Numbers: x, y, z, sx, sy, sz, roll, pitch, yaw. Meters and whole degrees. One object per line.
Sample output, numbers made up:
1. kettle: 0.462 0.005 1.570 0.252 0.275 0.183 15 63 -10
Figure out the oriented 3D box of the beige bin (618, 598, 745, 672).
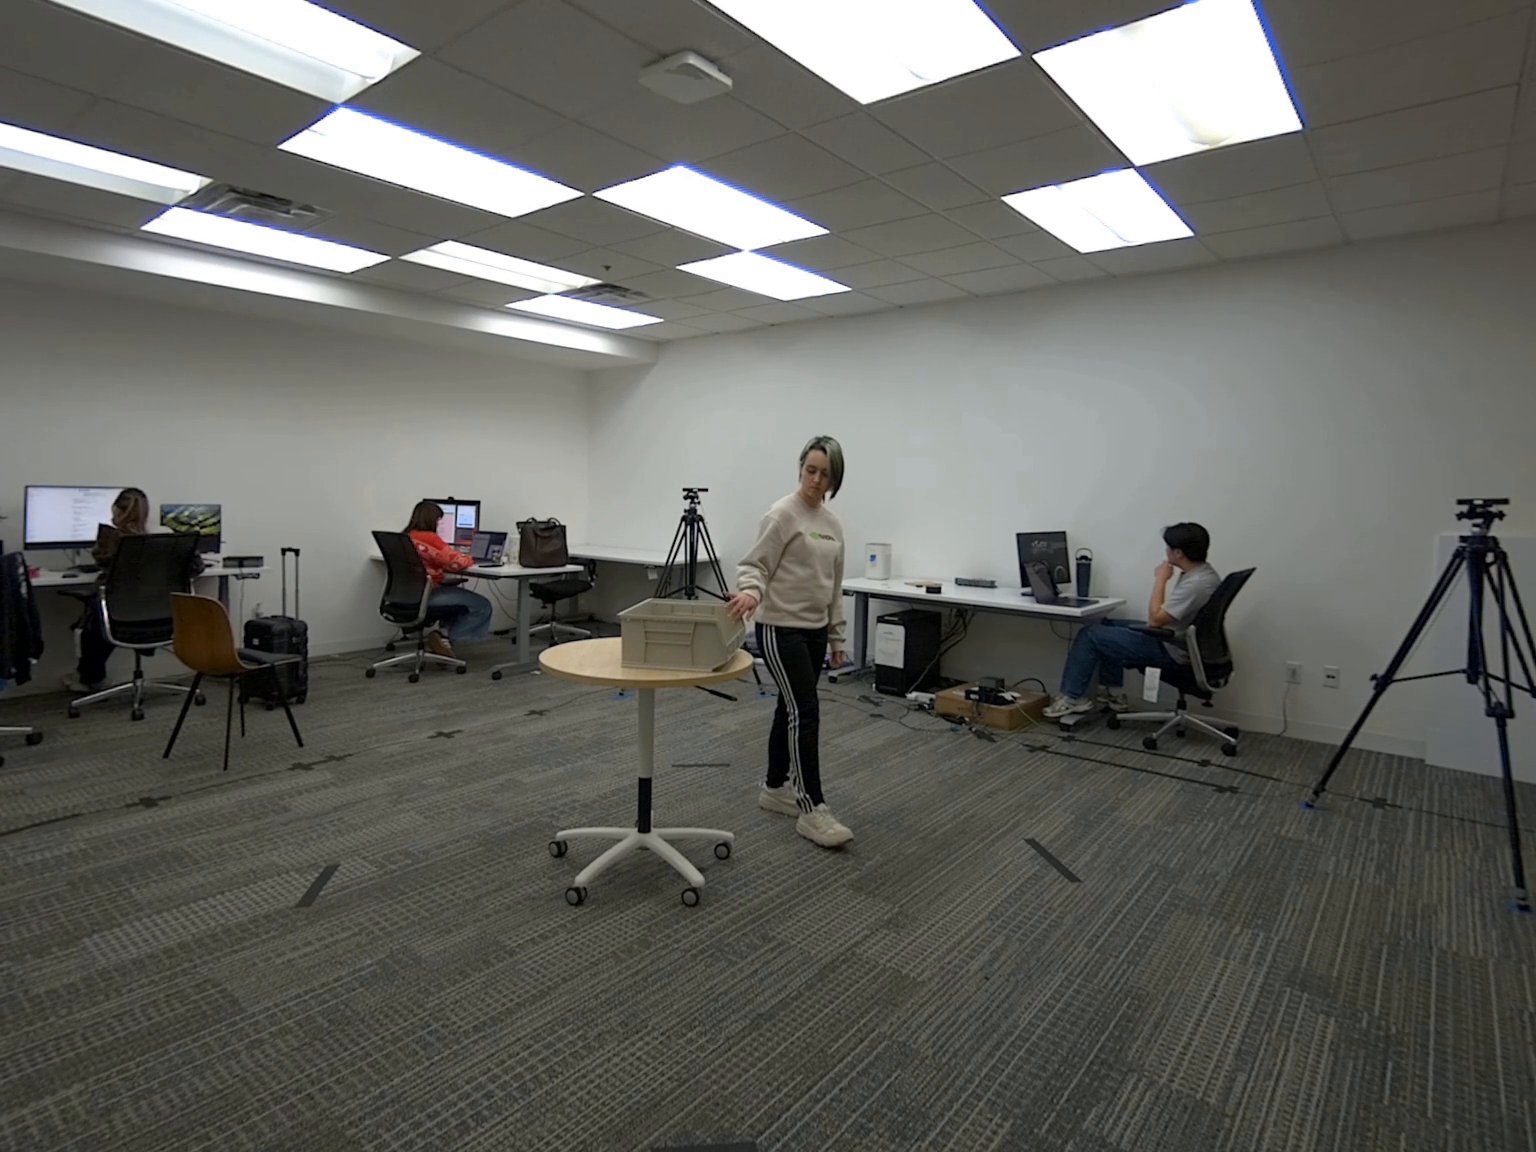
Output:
1. beige bin: -0.307 0.201 3.023 0.381 0.188 0.420 0 6 9
